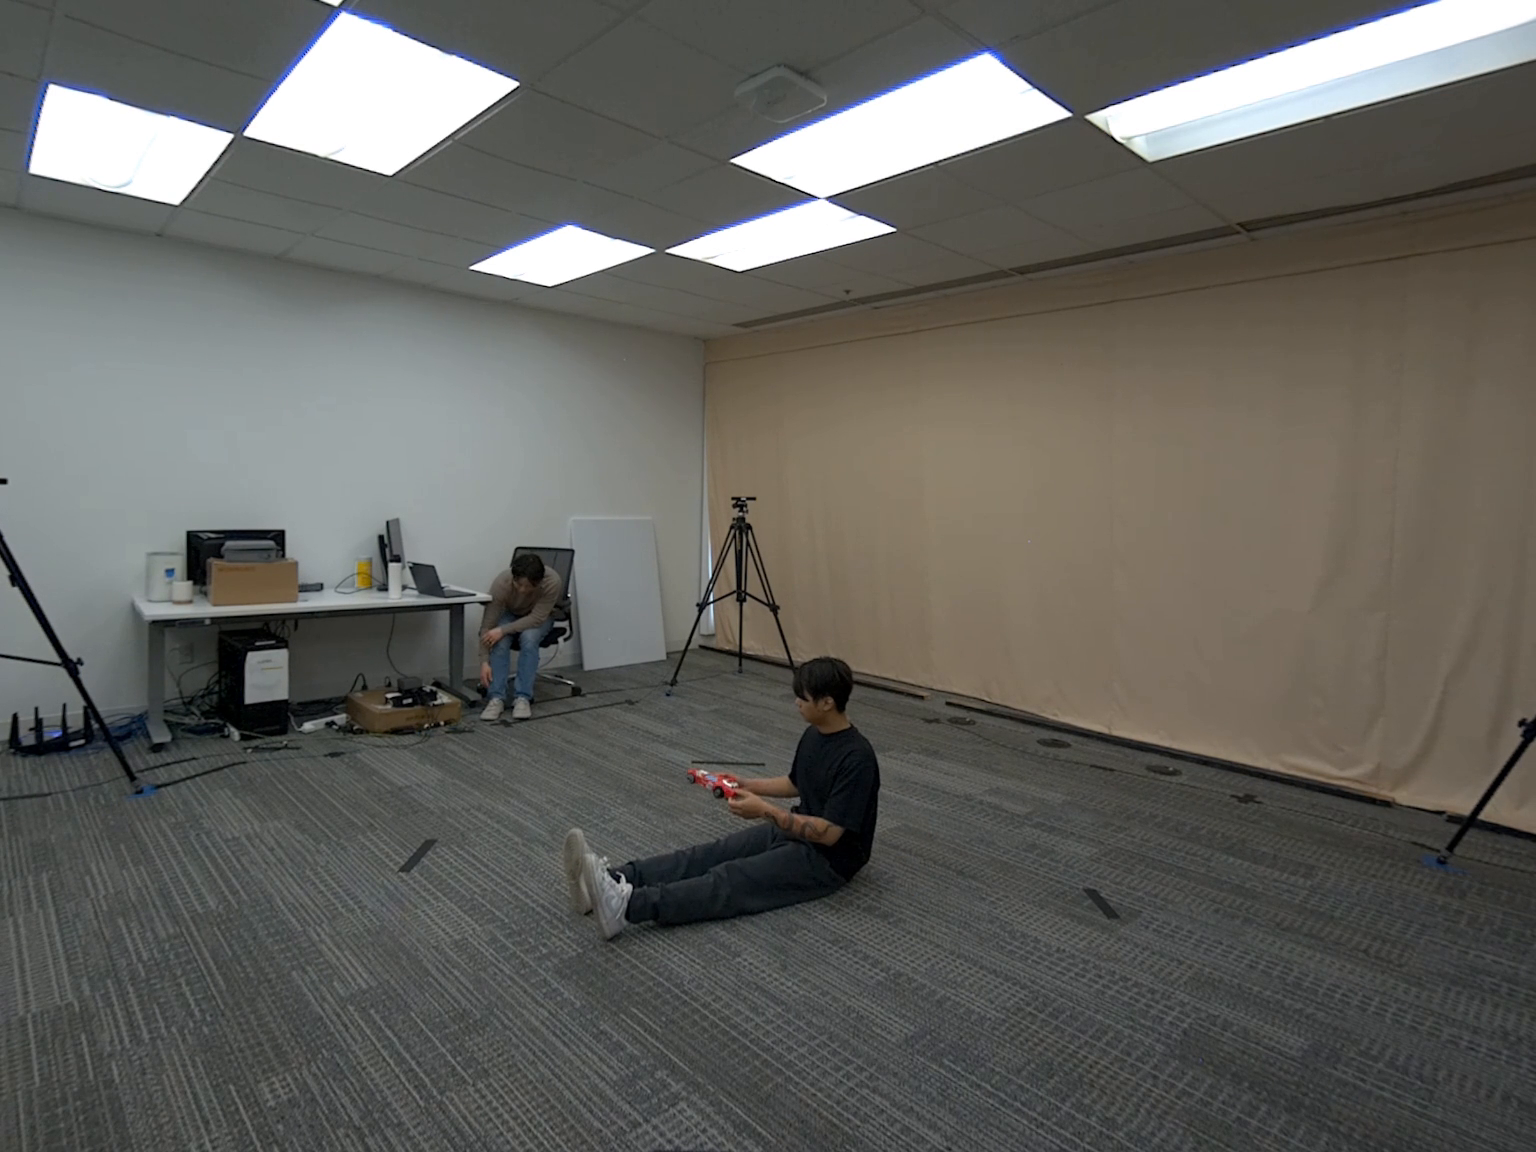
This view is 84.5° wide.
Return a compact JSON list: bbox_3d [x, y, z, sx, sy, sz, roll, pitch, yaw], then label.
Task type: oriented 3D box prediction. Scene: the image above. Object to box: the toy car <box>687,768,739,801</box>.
[{"bbox_3d":[-0.201,0.840,3.381,0.260,0.083,0.127,5,-7,32],"label":"toy car"}]
